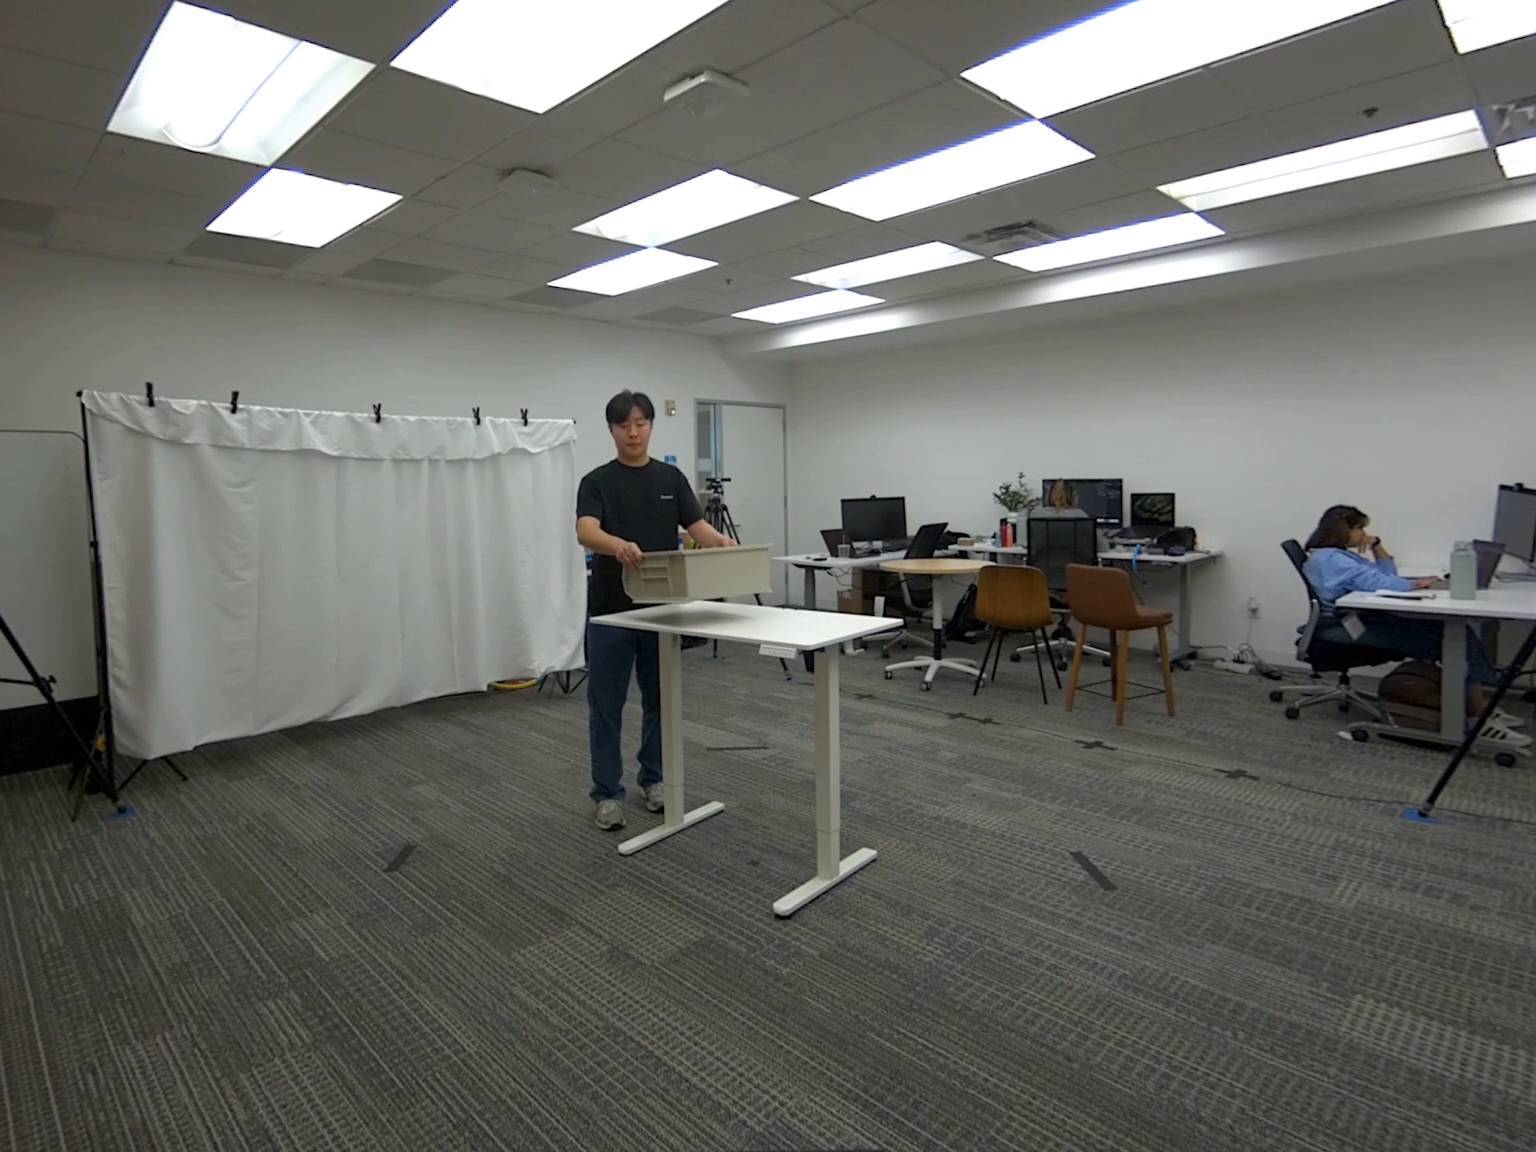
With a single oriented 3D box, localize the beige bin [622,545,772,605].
[{"bbox_3d":[-0.261,-0.005,3.140,0.411,0.188,0.388,-6,4,-41],"label":"beige bin"}]
